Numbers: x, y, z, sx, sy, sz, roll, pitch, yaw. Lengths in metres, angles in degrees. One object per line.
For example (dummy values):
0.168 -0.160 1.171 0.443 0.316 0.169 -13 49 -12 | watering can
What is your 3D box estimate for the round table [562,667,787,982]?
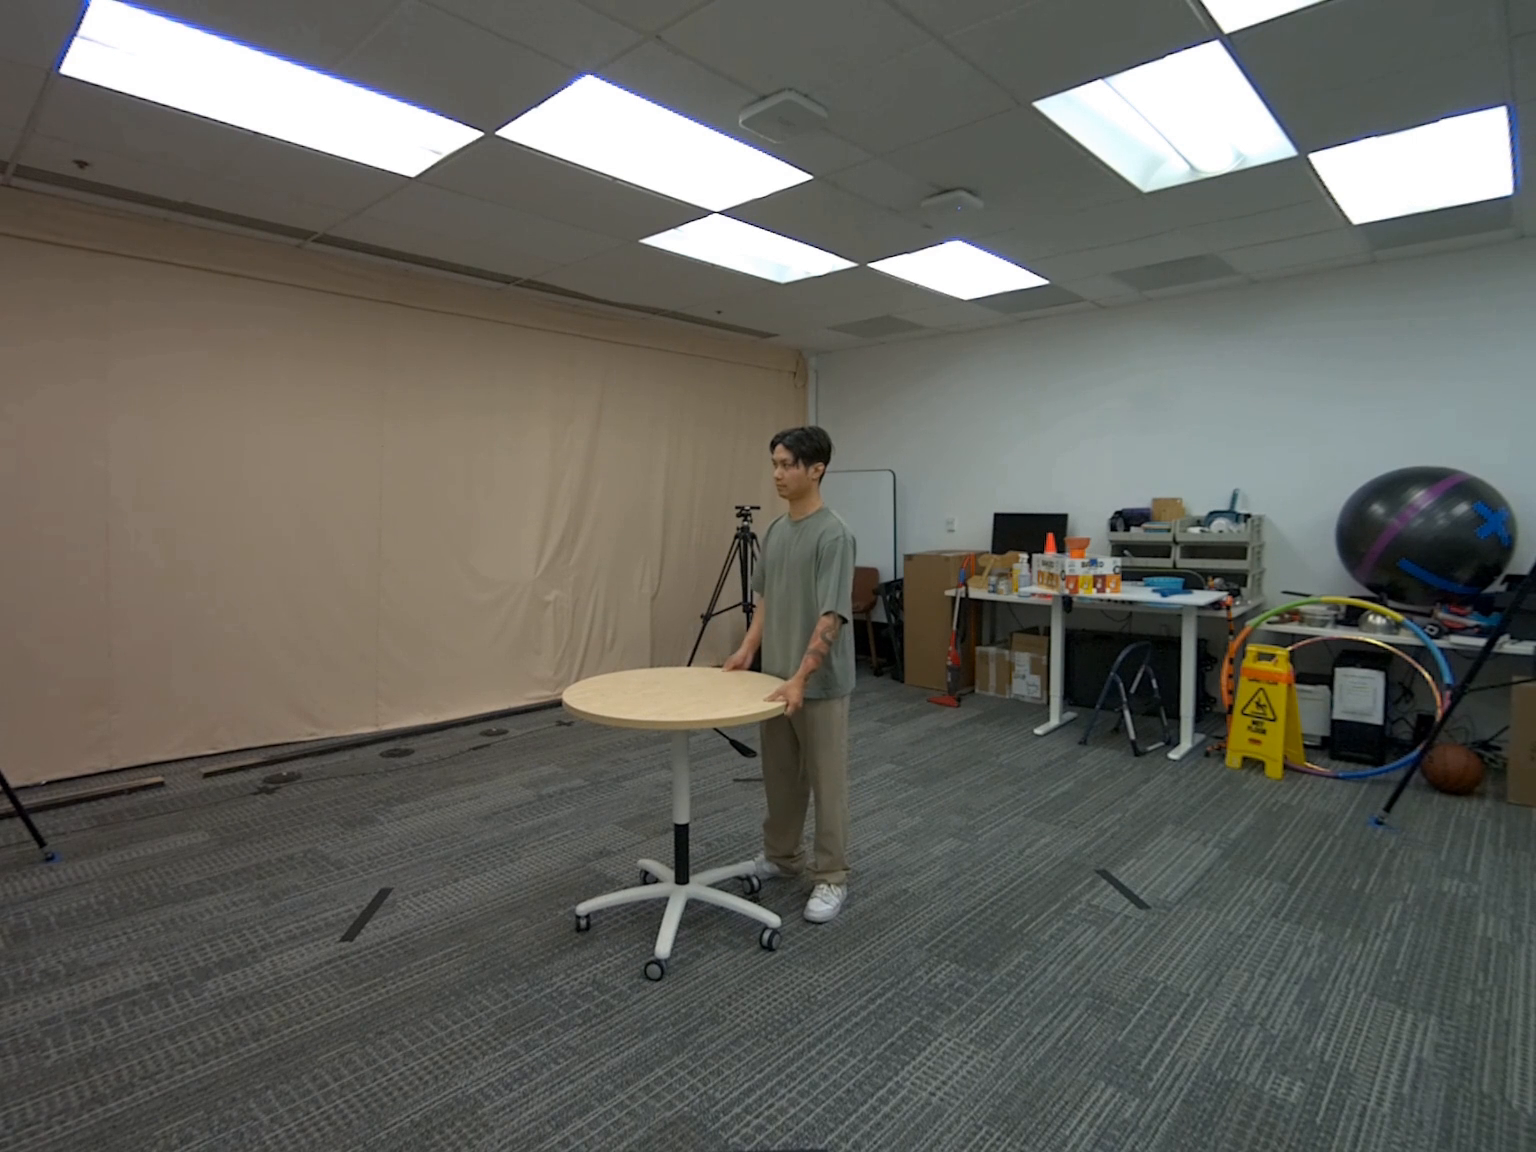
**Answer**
-0.291 0.767 2.806 0.784 0.784 0.788 0 4 -2 | round table
